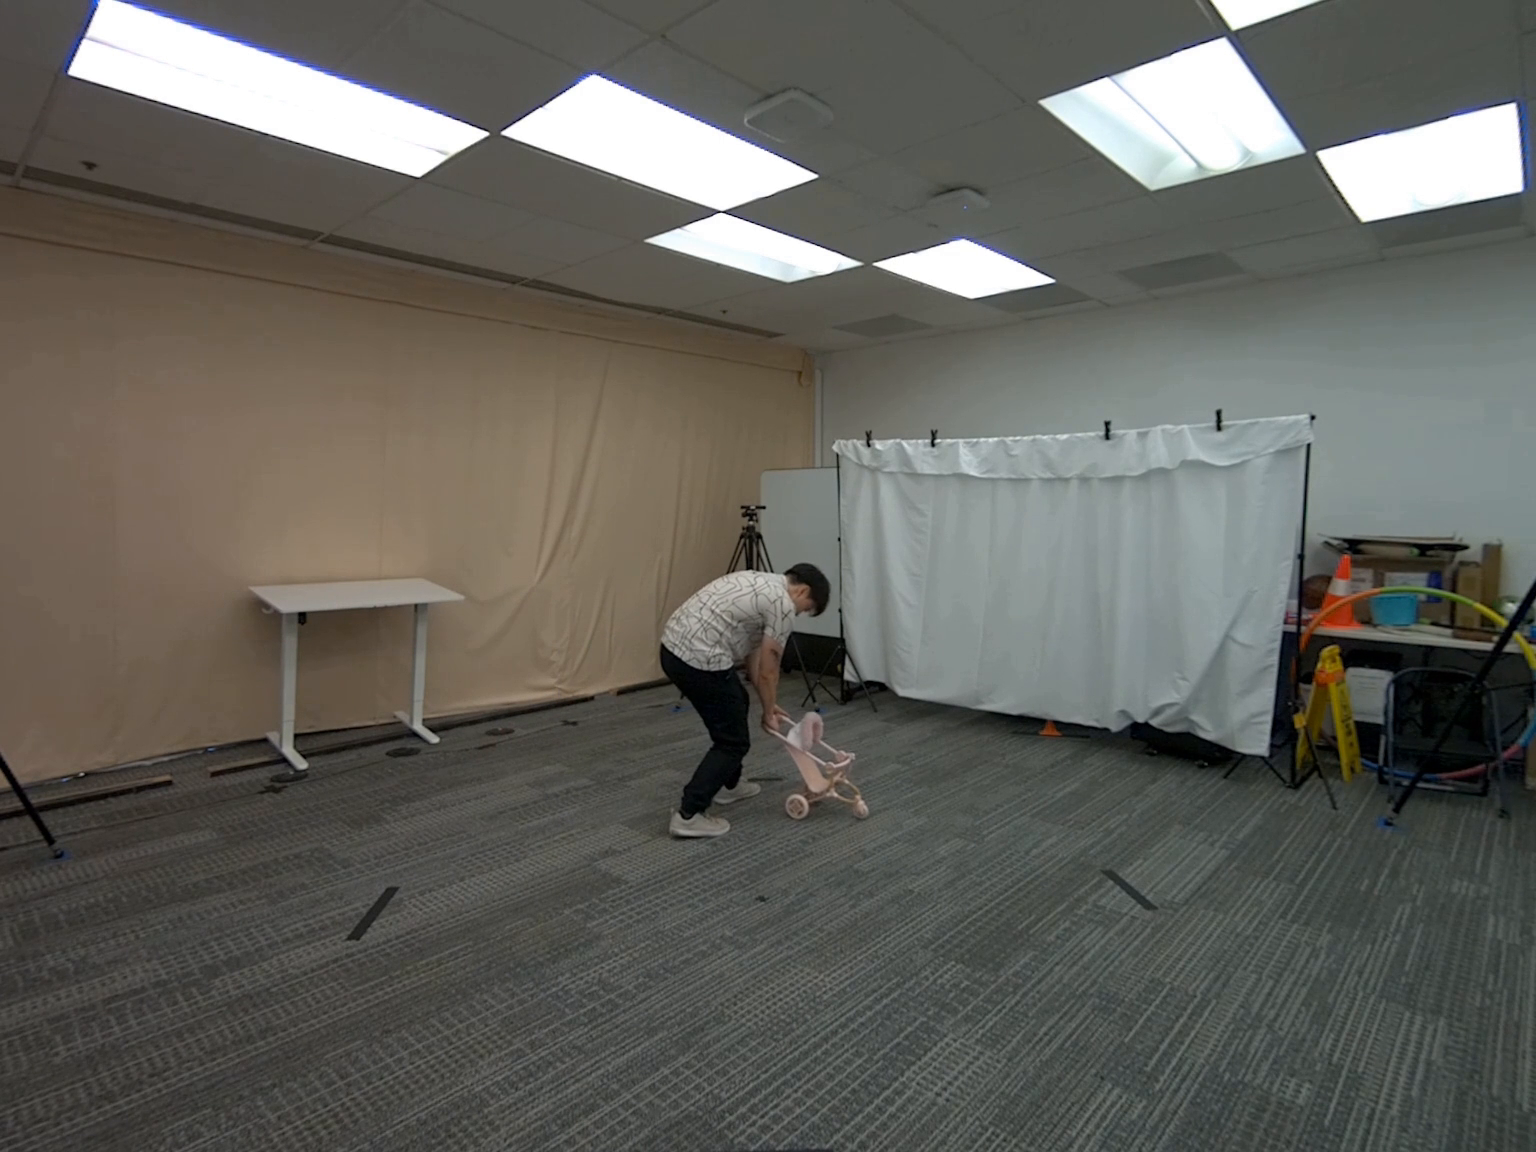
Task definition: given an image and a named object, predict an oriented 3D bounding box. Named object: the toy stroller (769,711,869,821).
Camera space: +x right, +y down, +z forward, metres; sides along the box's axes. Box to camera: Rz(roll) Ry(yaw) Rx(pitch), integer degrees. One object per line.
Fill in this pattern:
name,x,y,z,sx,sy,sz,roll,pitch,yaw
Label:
toy stroller,0.224,0.855,3.820,0.348,0.537,0.274,-18,-5,27
